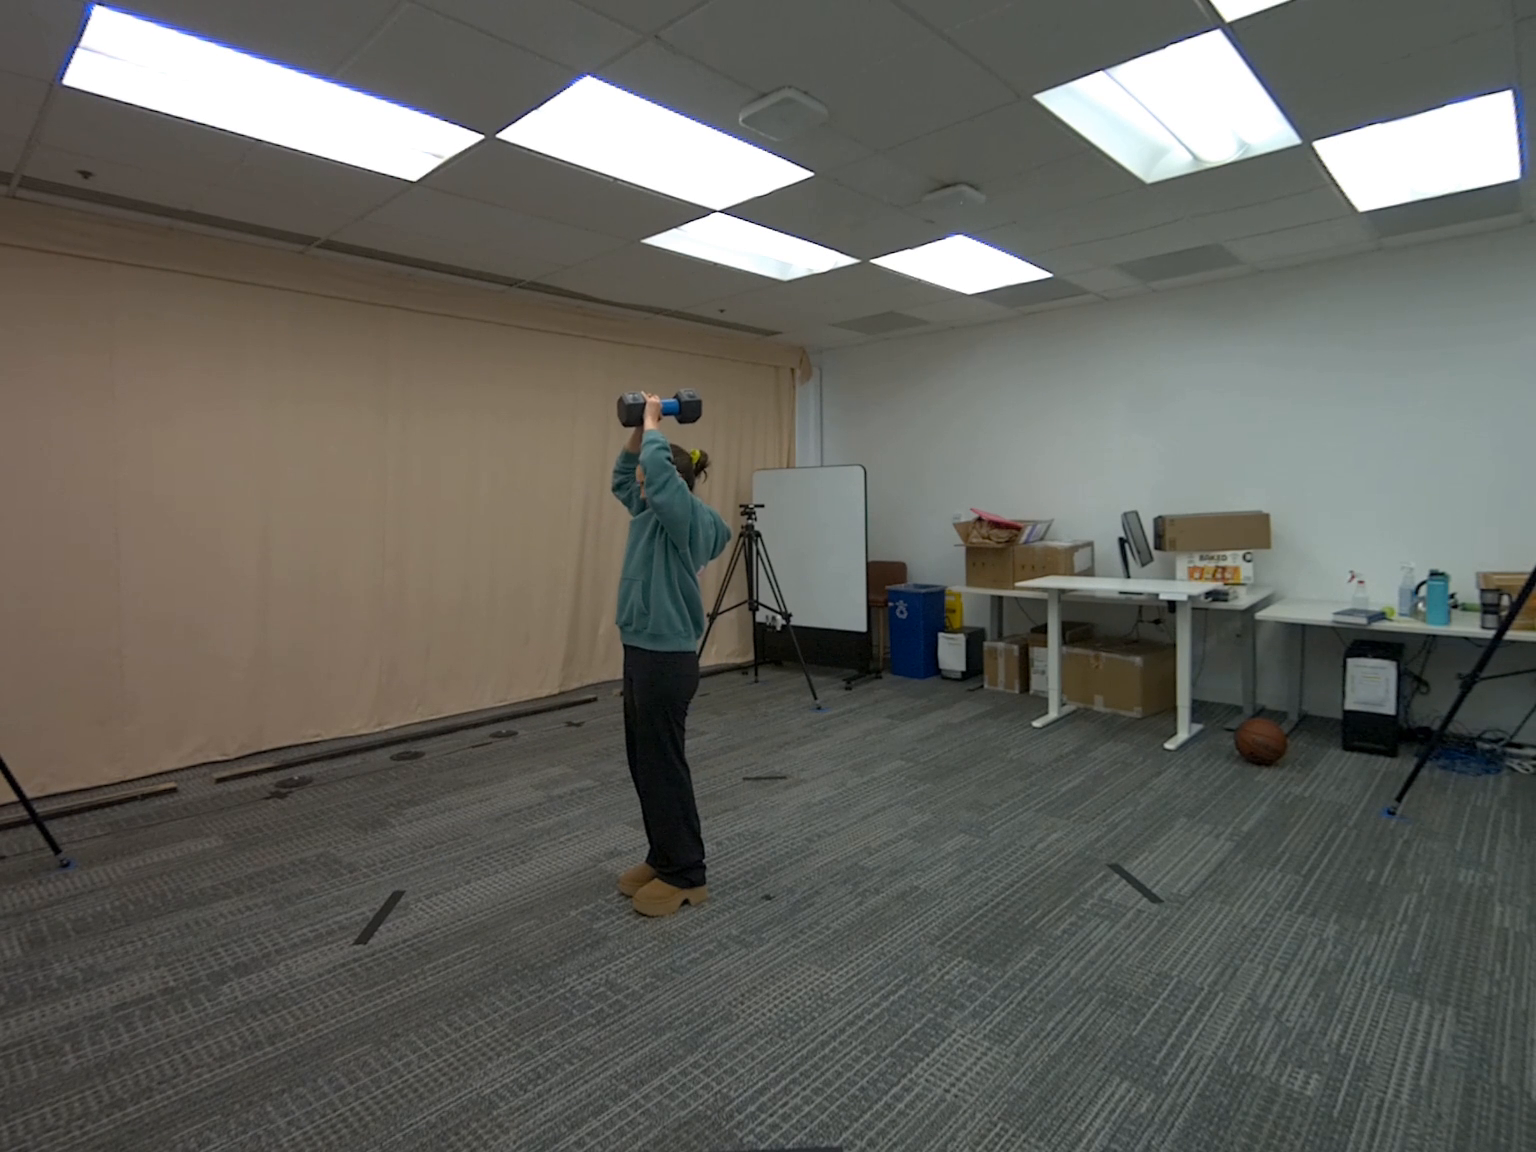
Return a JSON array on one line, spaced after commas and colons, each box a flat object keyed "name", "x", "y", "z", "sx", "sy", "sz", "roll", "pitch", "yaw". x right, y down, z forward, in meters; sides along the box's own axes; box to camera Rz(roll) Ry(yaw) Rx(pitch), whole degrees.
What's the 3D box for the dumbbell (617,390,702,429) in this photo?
[{"name": "dumbbell", "x": -0.378, "y": -0.589, "z": 2.969, "sx": 0.287, "sy": 0.121, "sz": 0.112, "roll": -8, "pitch": 20, "yaw": -24}]
